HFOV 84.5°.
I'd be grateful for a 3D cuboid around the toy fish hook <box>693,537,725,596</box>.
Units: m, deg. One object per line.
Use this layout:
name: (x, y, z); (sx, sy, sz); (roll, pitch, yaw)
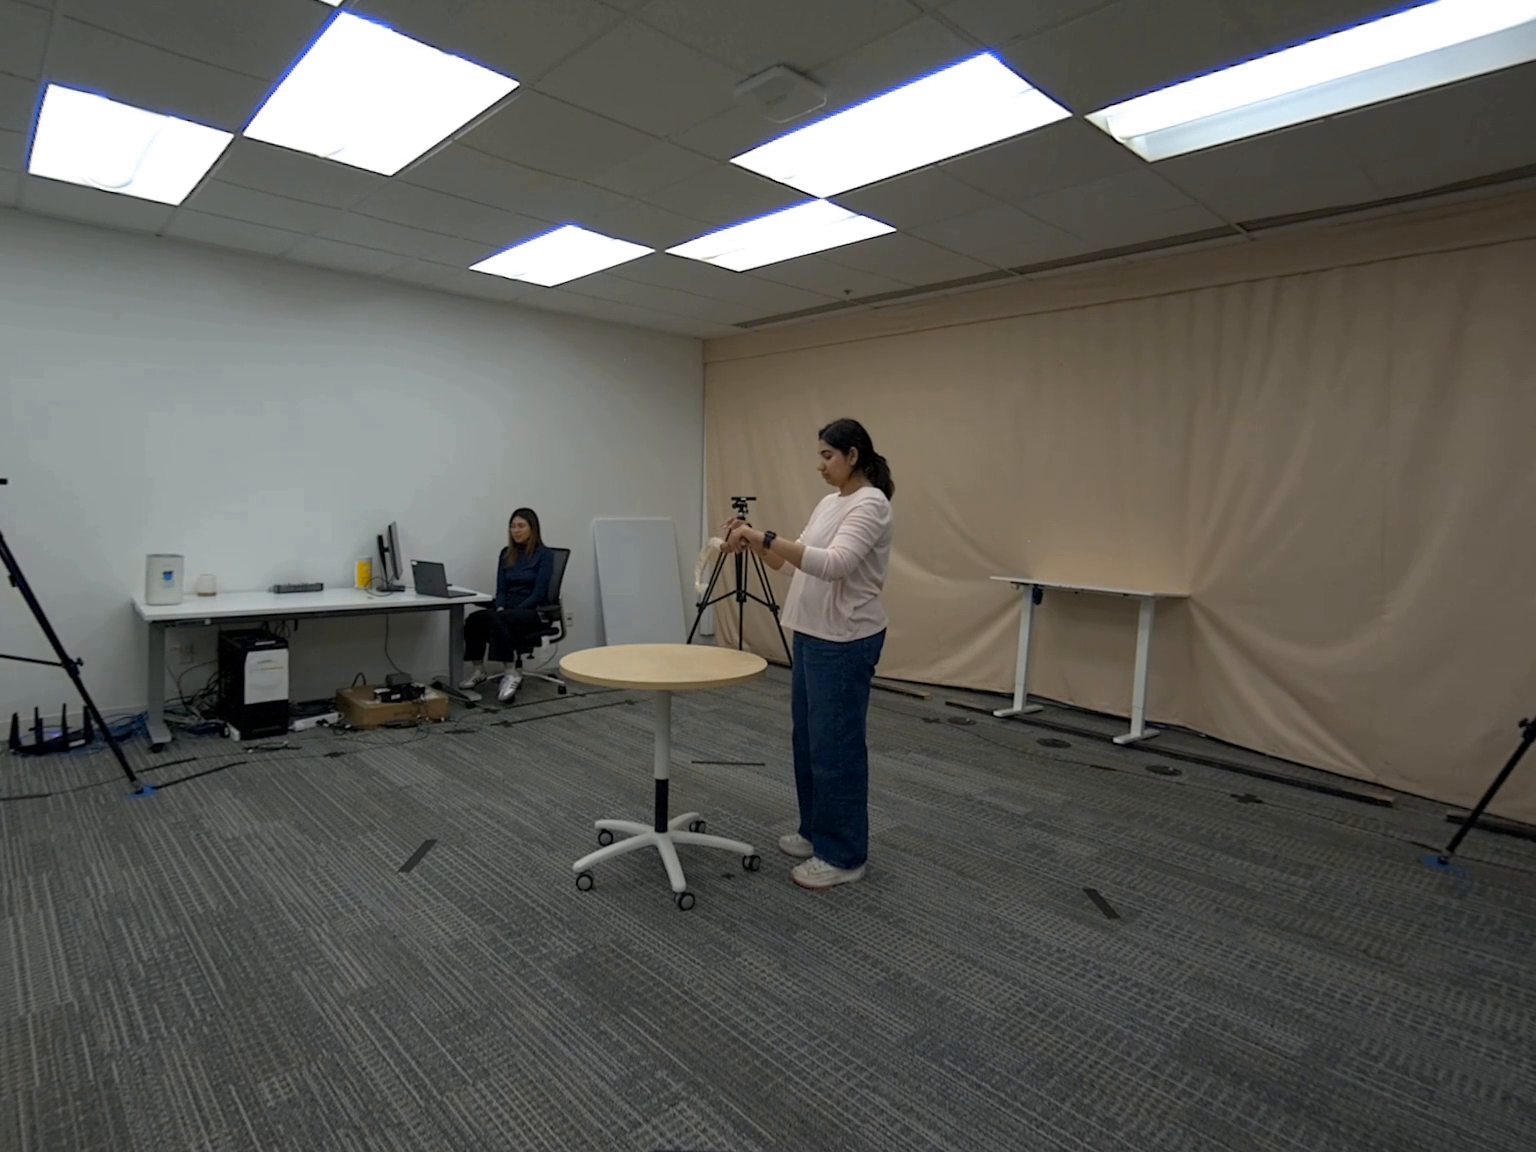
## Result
toy fish hook: (-0.182, -0.054, 3.073); (0.047, 0.226, 0.511); (11, -12, -19)
